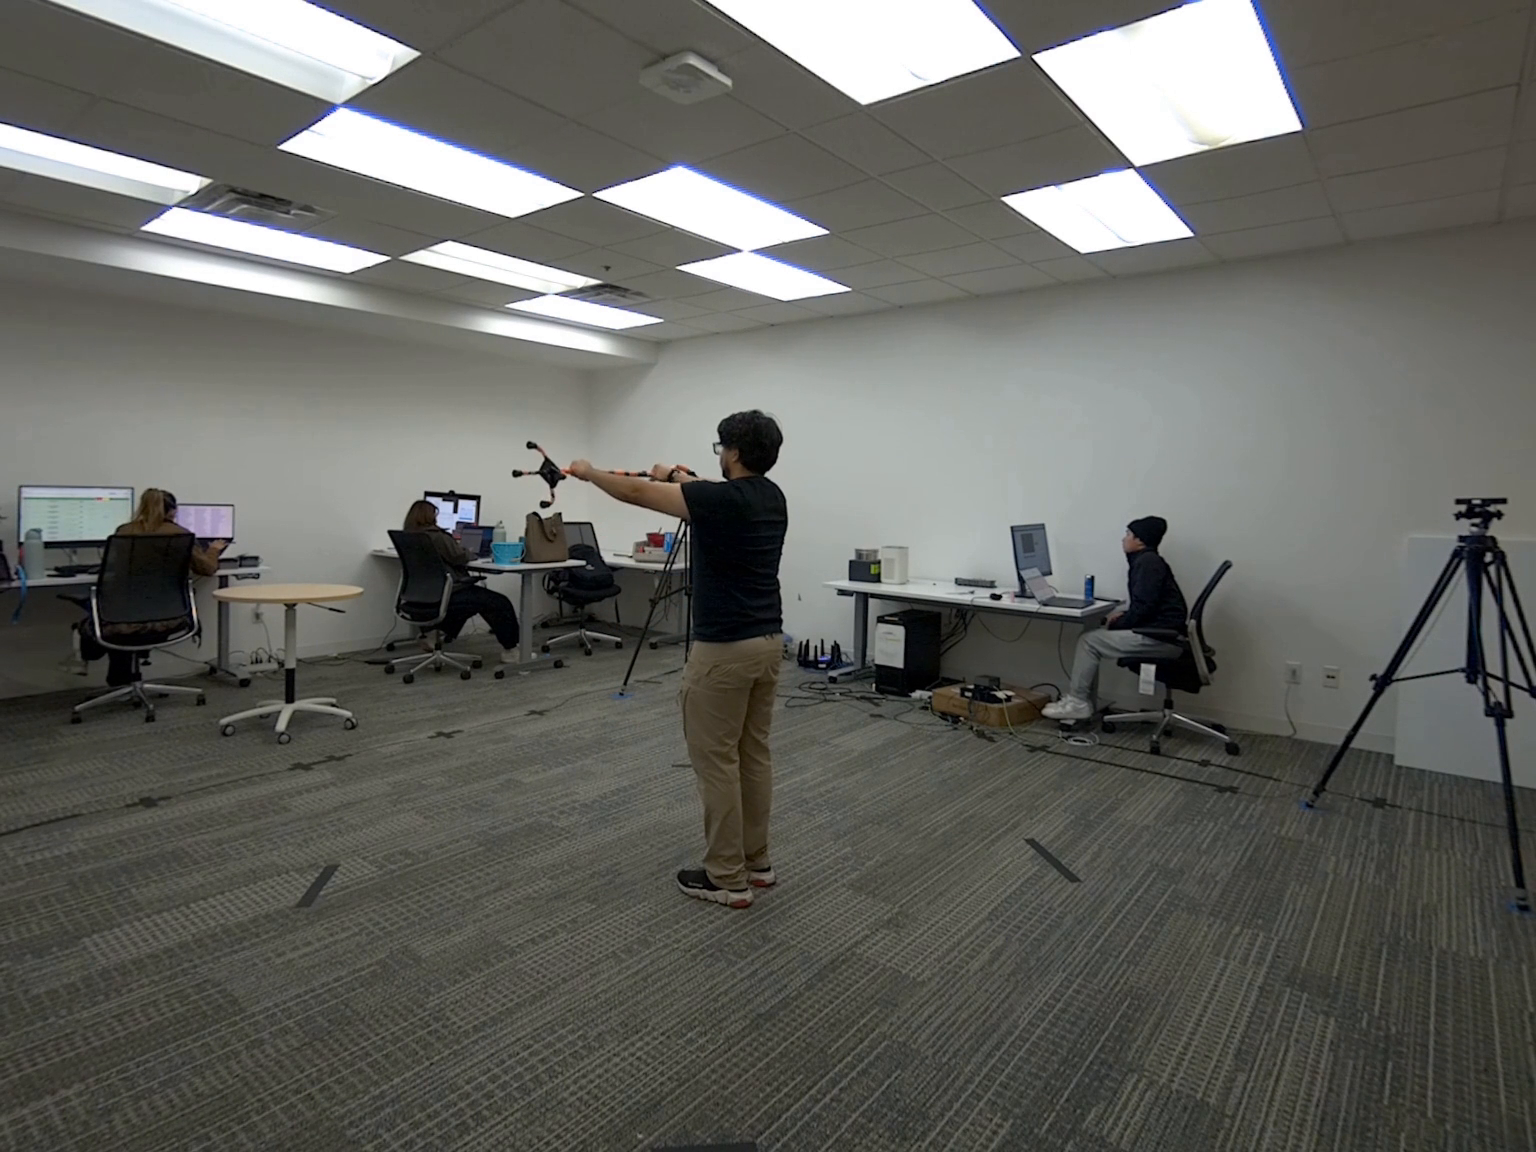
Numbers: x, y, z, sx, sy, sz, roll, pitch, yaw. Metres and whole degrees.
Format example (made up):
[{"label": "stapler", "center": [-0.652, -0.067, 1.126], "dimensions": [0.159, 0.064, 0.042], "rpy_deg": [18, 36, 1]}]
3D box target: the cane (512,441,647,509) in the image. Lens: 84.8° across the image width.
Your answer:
[{"label": "cane", "center": [-0.575, -0.388, 3.313], "dimensions": [0.213, 0.151, 0.884], "rpy_deg": [46, 27, 21]}]
